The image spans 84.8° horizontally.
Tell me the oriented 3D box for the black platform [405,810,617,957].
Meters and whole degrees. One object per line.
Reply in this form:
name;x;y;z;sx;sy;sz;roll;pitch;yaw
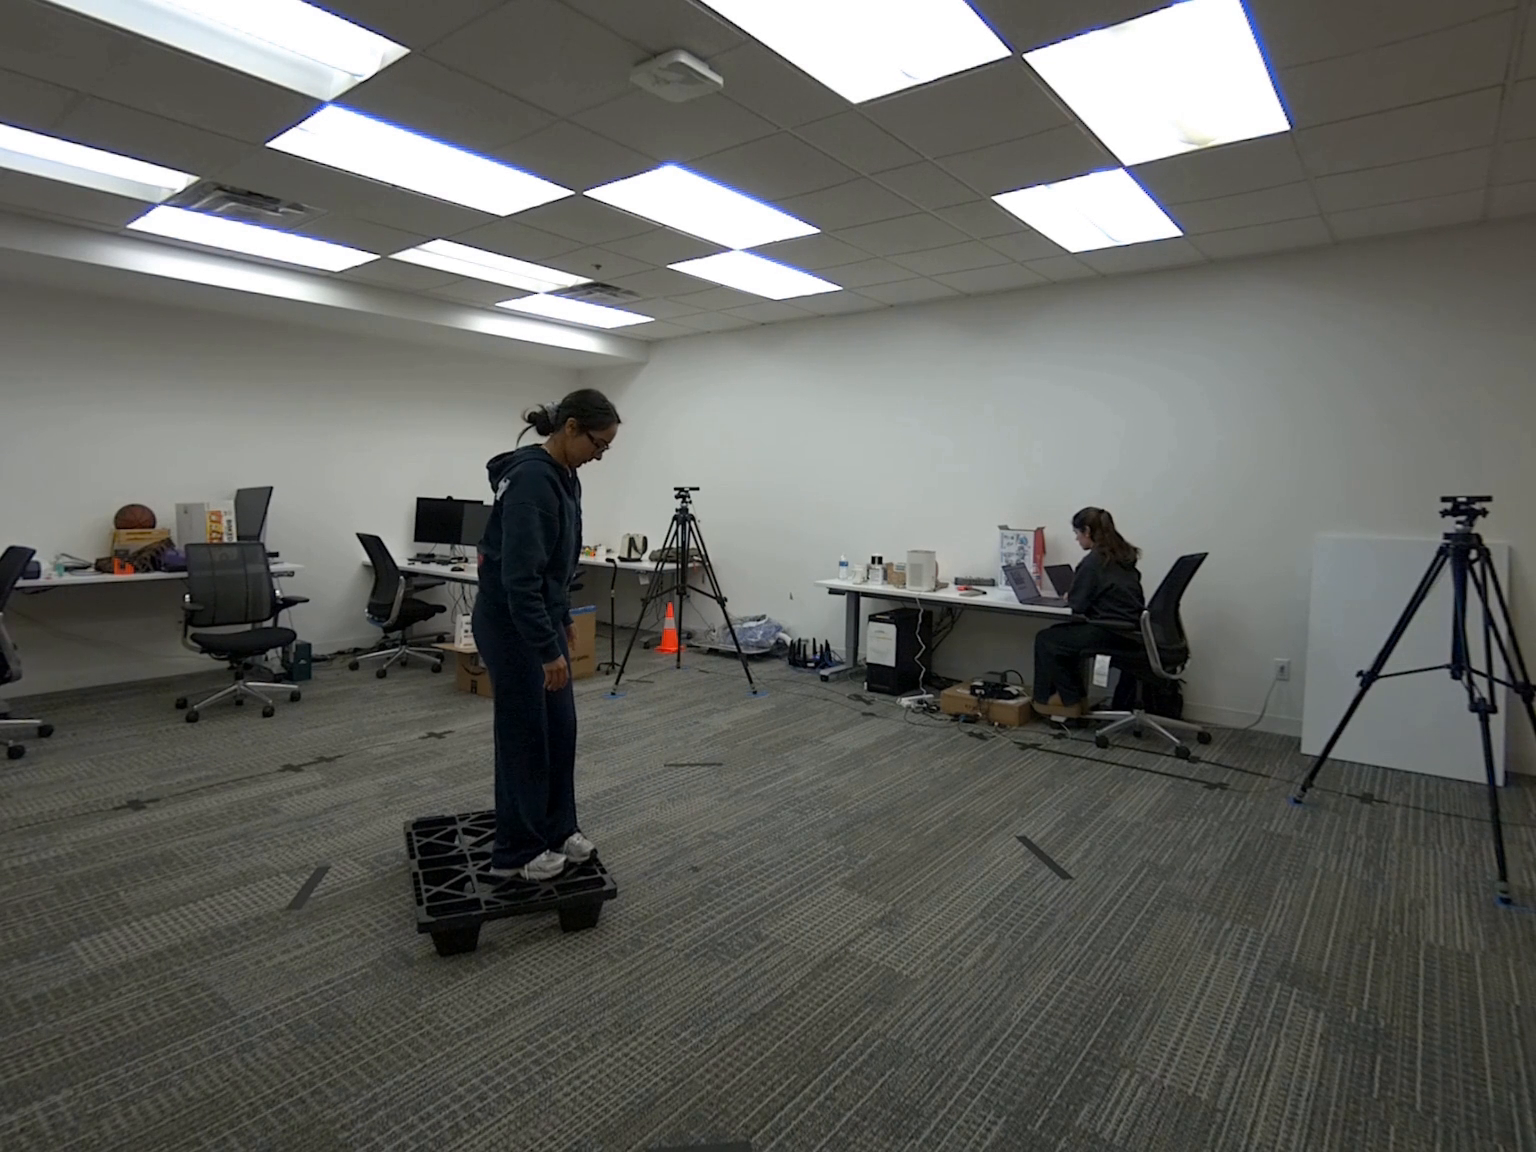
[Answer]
black platform;-0.924;1.004;2.925;0.591;0.142;0.828;-2;7;-25
